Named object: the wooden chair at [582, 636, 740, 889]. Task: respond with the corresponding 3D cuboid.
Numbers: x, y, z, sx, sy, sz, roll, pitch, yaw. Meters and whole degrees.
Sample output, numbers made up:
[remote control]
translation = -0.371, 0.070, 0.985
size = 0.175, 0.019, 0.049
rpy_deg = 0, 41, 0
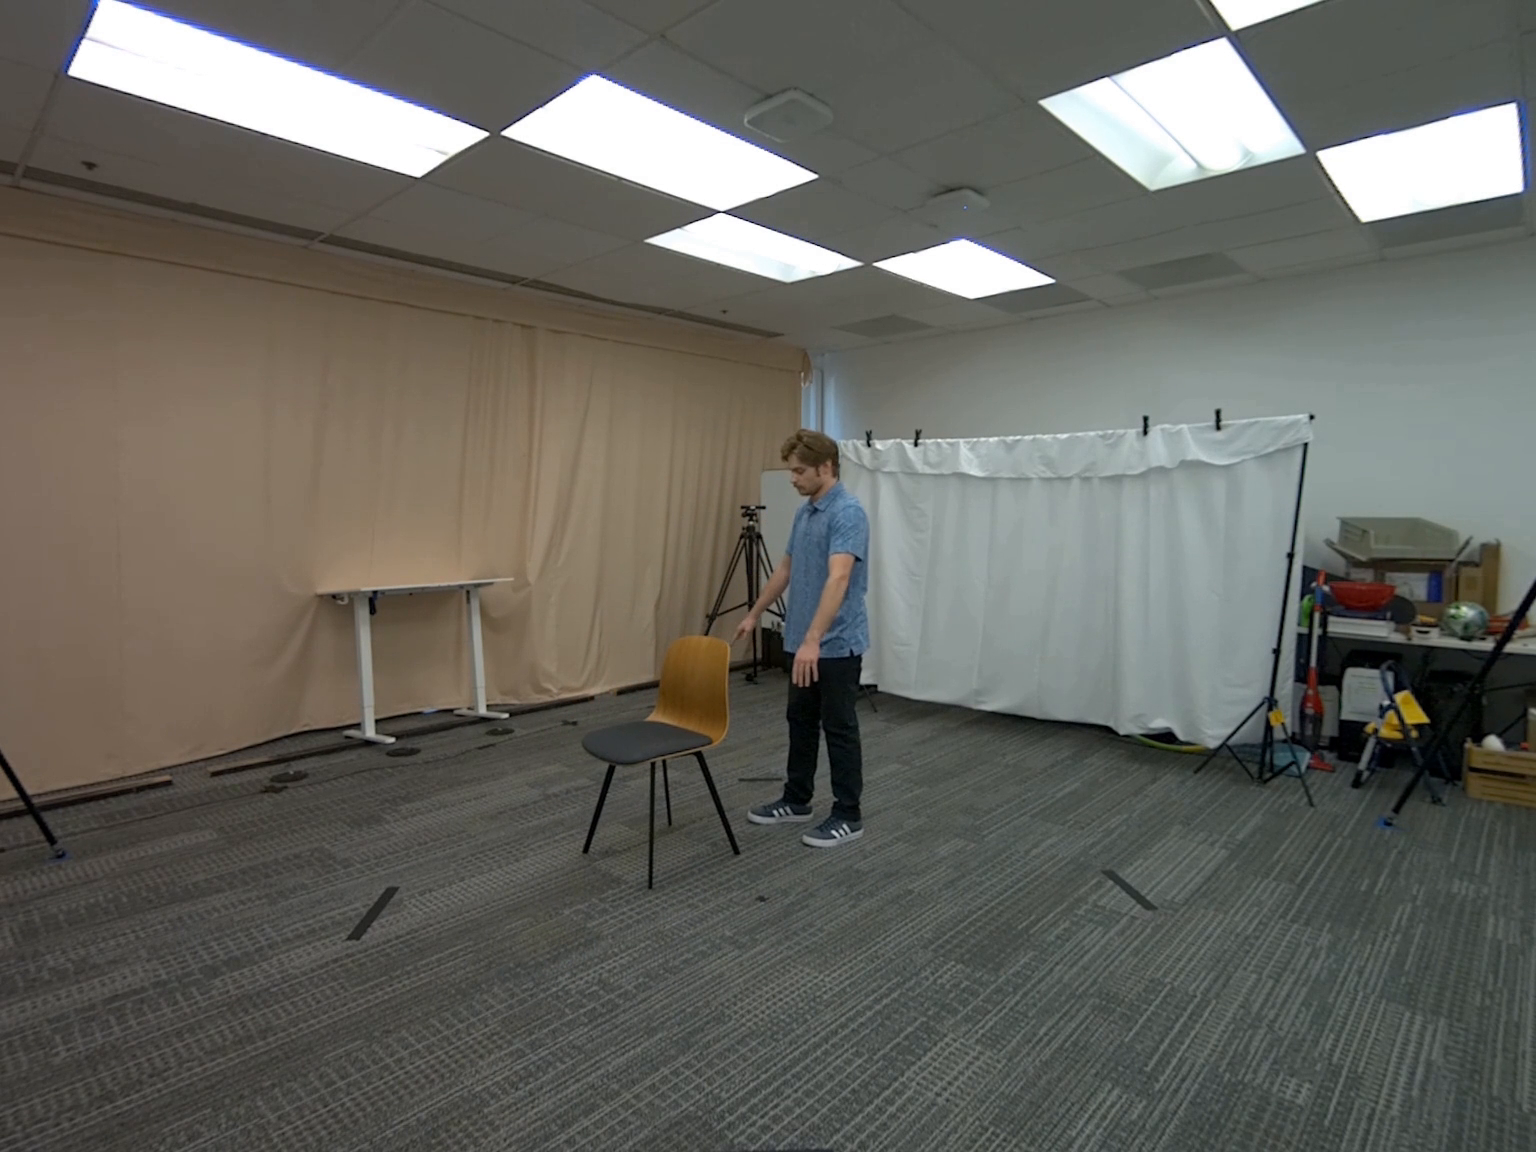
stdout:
[wooden chair]
translation = -0.433, 0.689, 3.337
size = 0.506, 0.877, 0.494
rpy_deg = 3, 0, -44
